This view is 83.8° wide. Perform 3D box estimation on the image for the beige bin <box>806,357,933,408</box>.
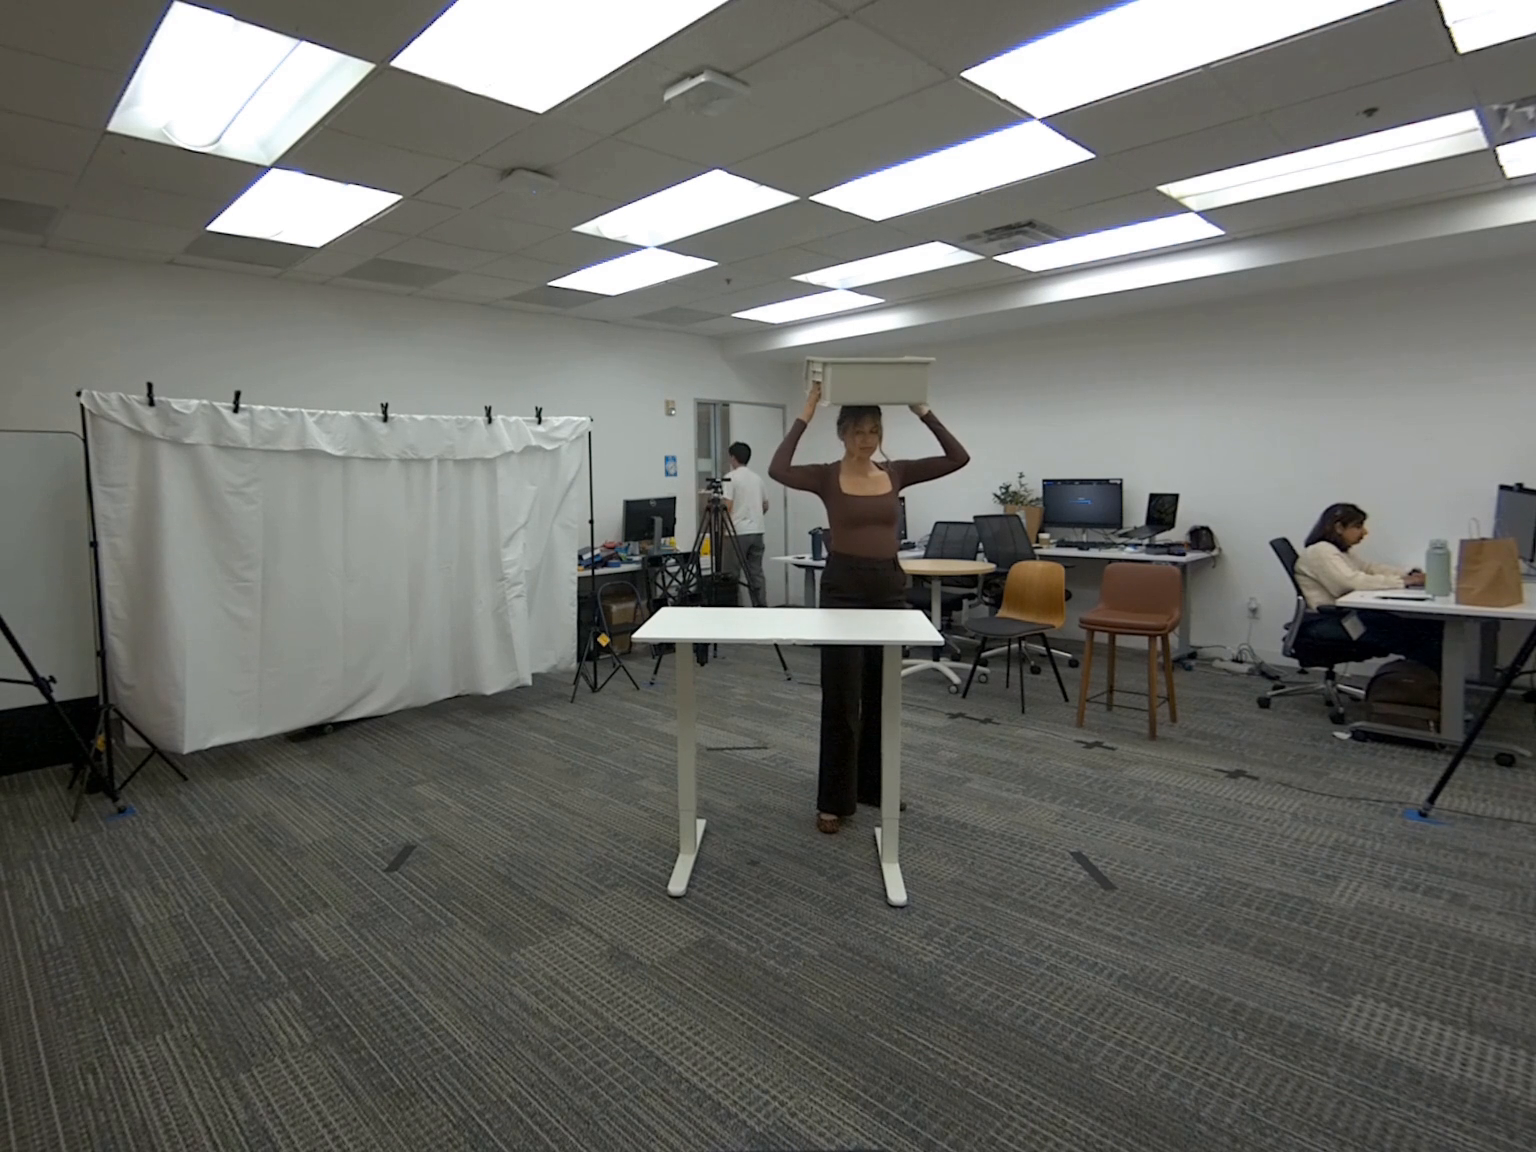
[{"bbox_3d":[0.388,-0.781,3.391,0.419,0.186,0.386,-3,17,-9],"label":"beige bin"}]
